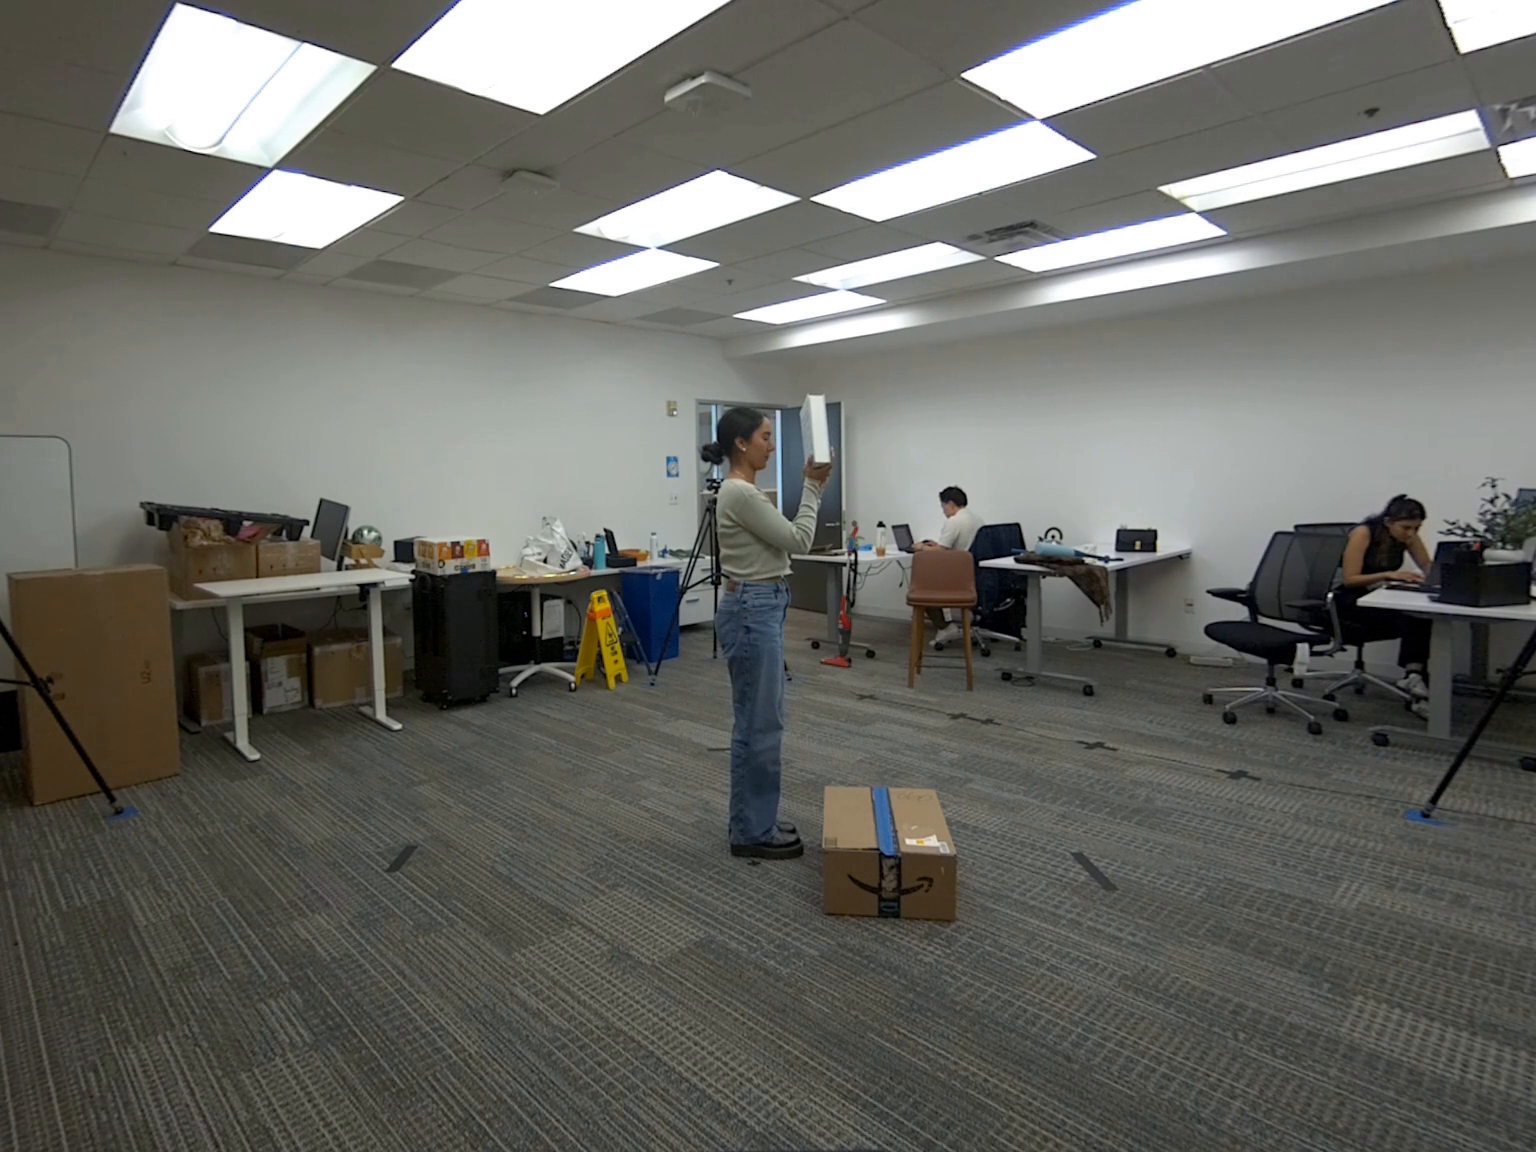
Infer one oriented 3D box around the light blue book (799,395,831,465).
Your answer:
[{"bbox_3d":[0.172,-0.510,3.127,0.059,0.264,0.190,-2,-14,-7],"label":"light blue book"}]
